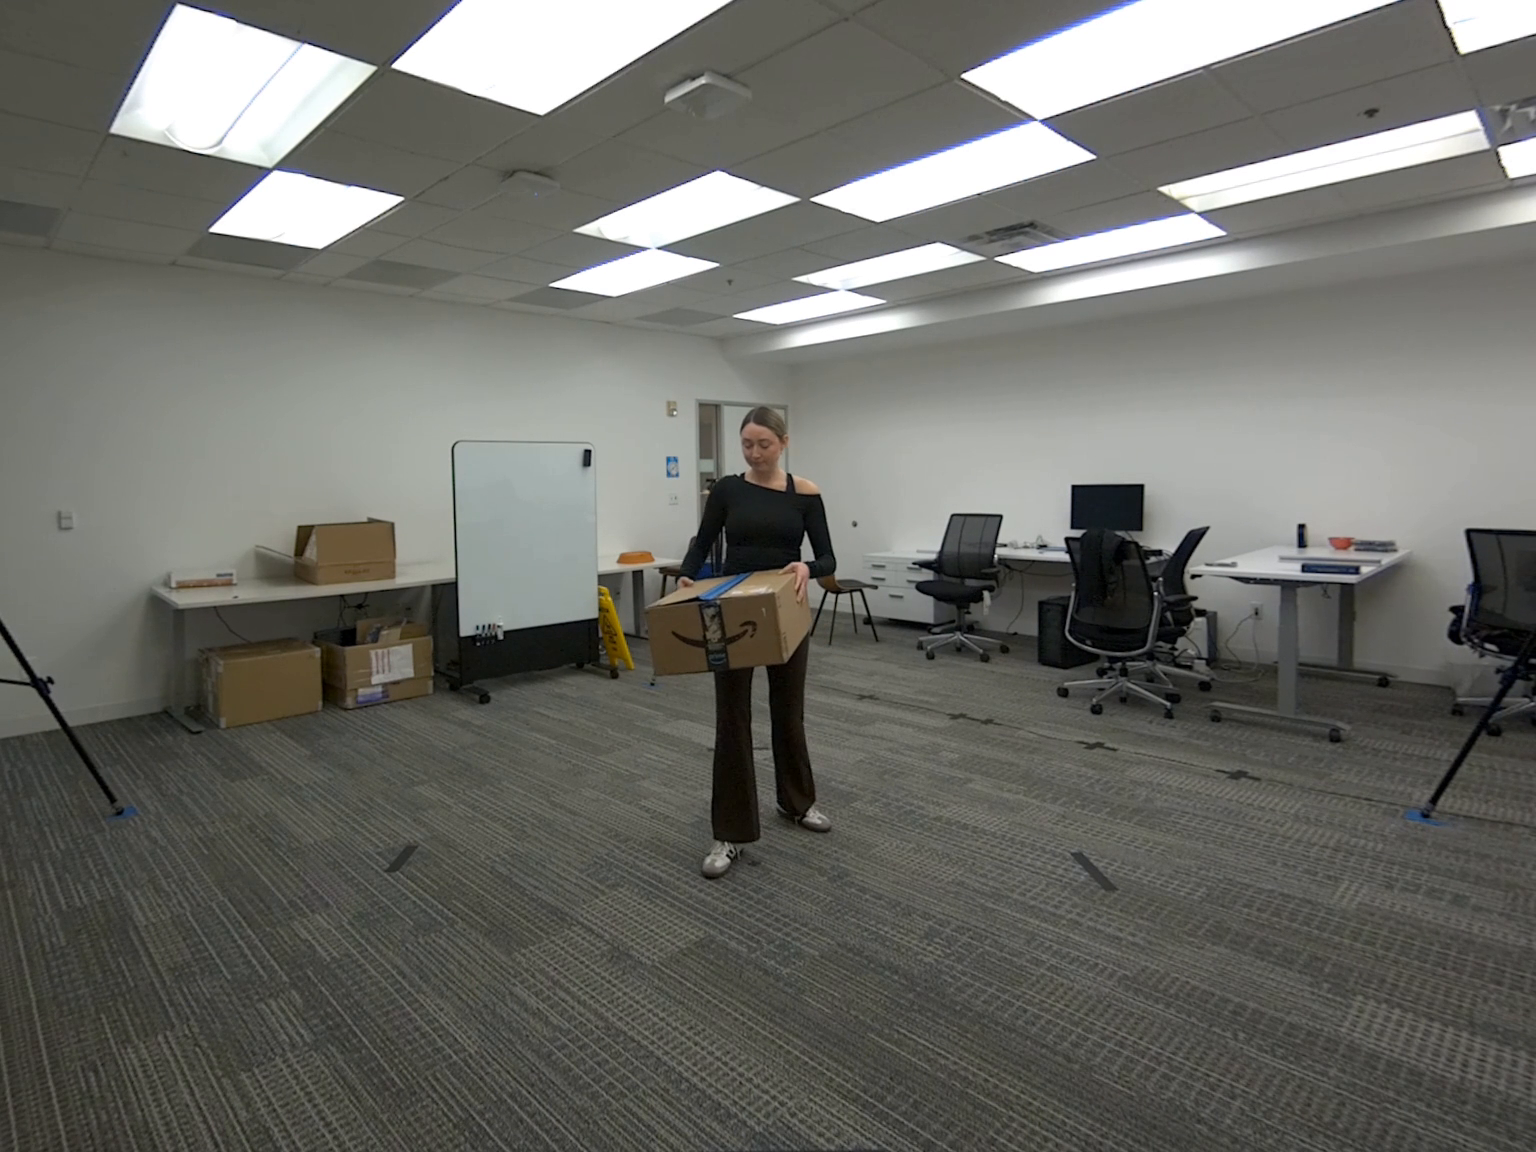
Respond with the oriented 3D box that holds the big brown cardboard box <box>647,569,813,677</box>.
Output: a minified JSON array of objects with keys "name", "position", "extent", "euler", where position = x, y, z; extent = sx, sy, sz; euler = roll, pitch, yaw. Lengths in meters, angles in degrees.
[{"name":"big brown cardboard box","position":[-0.113,0.142,2.819],"extent":[0.422,0.232,0.584],"euler":[-8,6,13]}]
